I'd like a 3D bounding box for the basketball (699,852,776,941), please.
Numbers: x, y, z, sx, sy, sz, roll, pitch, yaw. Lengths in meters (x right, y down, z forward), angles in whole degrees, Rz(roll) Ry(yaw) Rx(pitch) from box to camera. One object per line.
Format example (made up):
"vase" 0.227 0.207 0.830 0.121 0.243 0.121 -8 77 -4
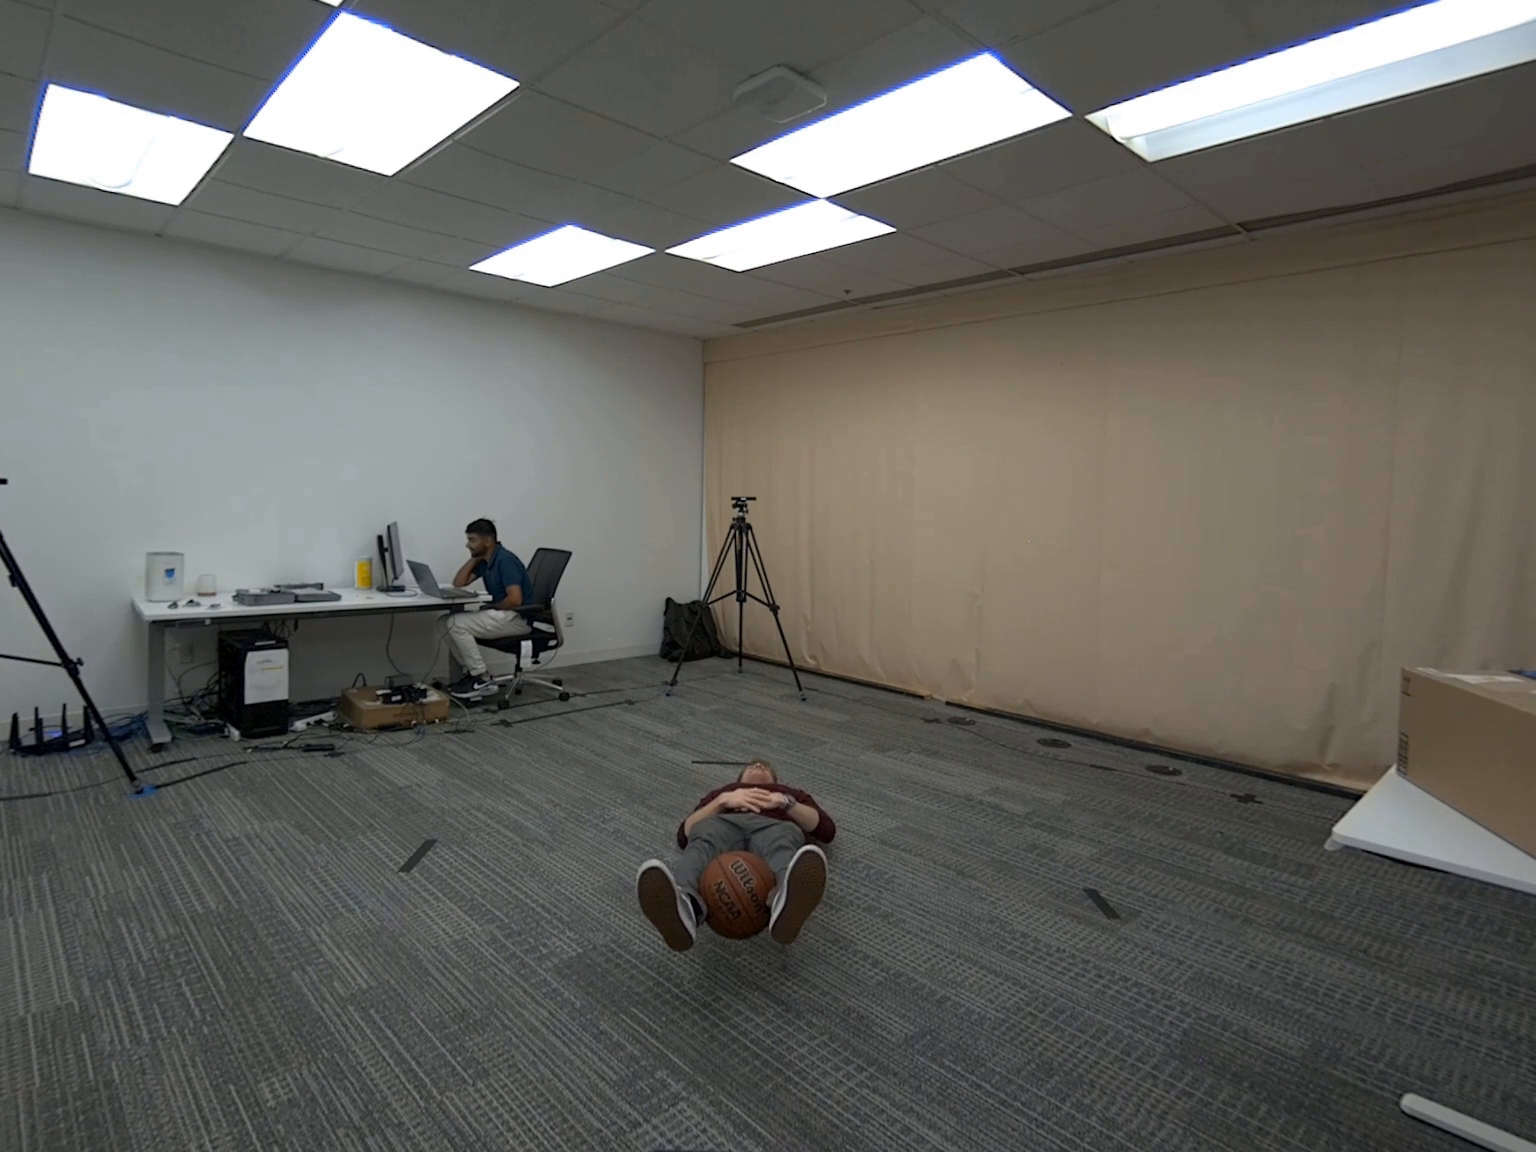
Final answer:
"basketball" -0.092 0.925 2.464 0.236 0.235 0.237 1 4 -1
